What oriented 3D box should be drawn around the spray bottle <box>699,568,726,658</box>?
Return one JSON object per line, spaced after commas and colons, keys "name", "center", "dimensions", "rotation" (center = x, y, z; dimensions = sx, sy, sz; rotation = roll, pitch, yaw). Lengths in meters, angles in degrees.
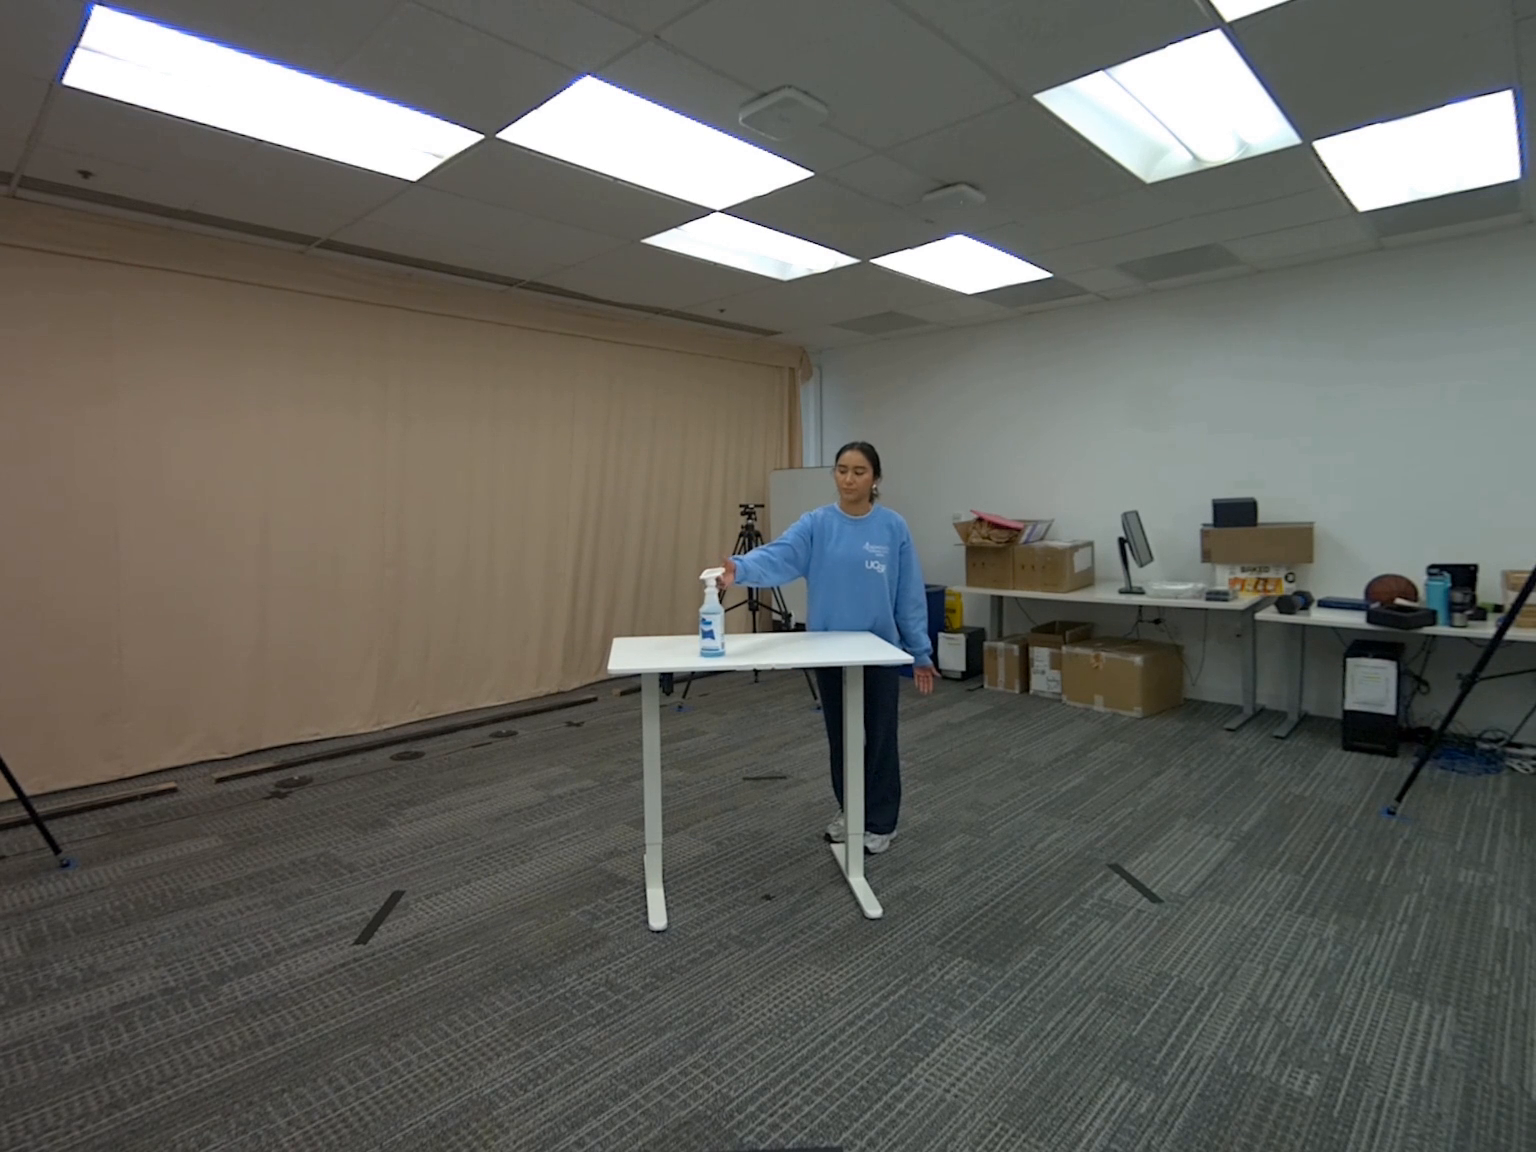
{"name": "spray bottle", "center": [-0.185, 0.124, 2.881], "dimensions": [0.090, 0.297, 0.087], "rotation": [-1, 2, -2]}
